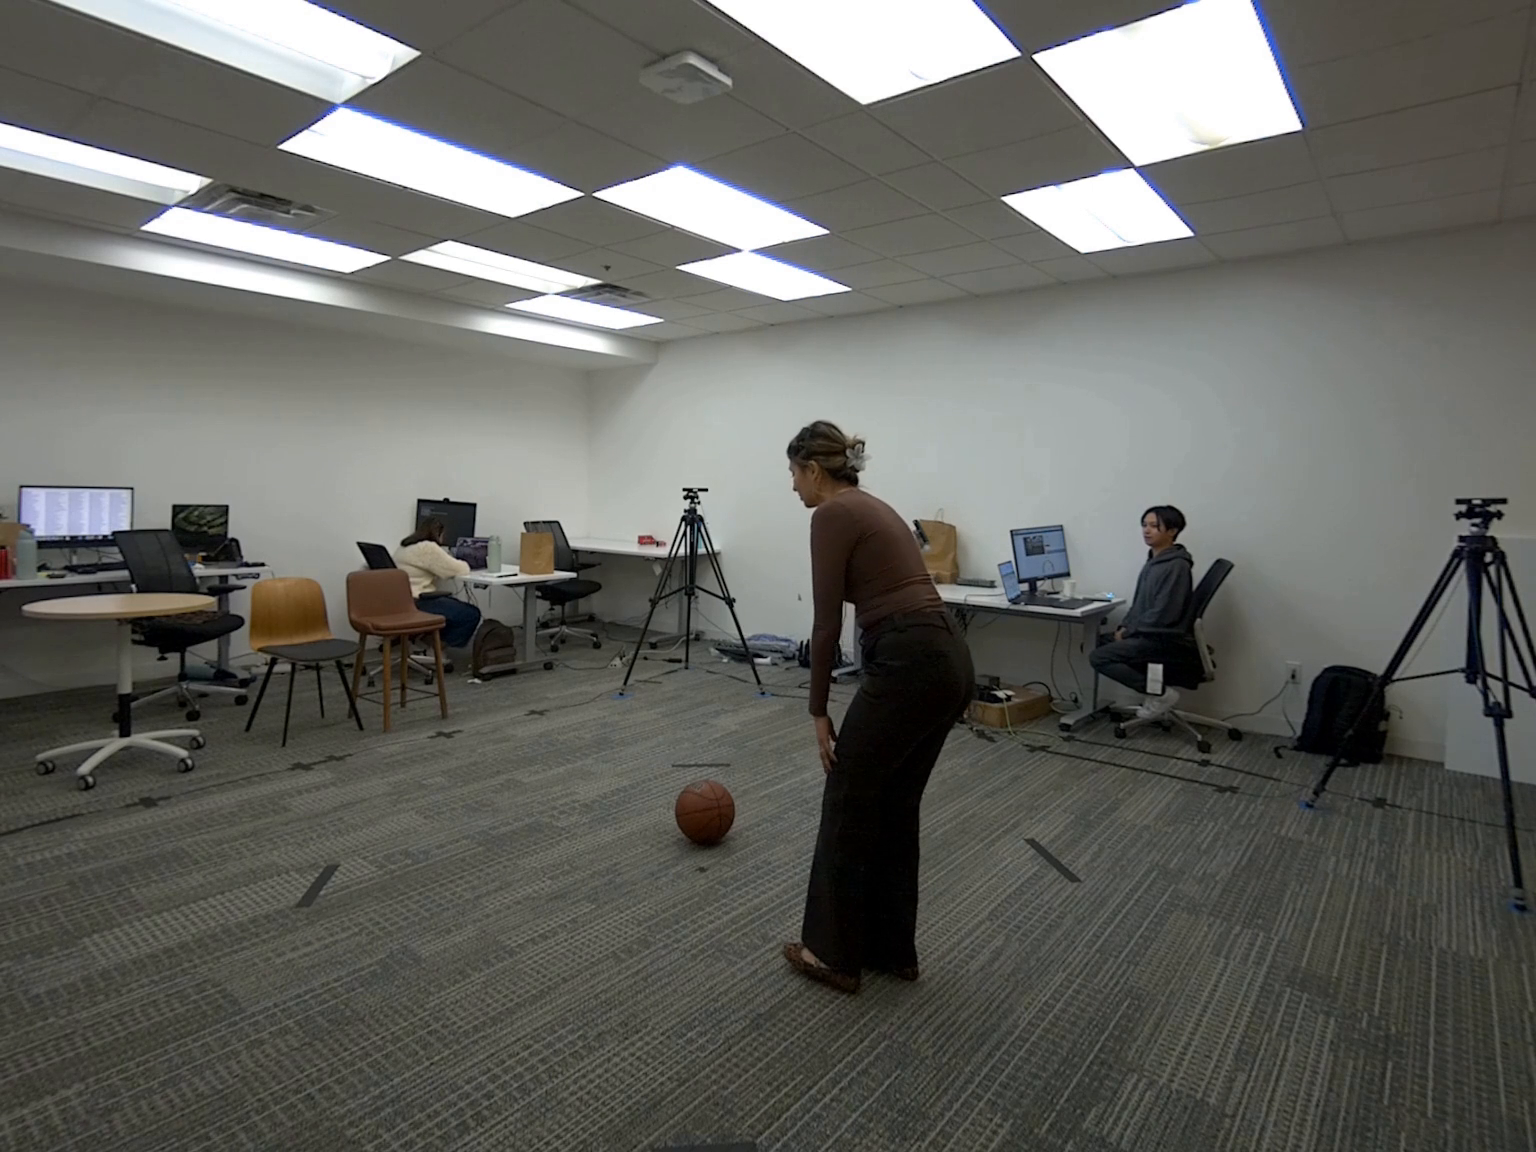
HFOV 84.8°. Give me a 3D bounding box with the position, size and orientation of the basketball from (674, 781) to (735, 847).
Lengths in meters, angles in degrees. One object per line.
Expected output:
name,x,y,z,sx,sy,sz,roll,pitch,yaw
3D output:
basketball,-0.263,0.921,3.356,0.236,0.235,0.237,1,4,-2
